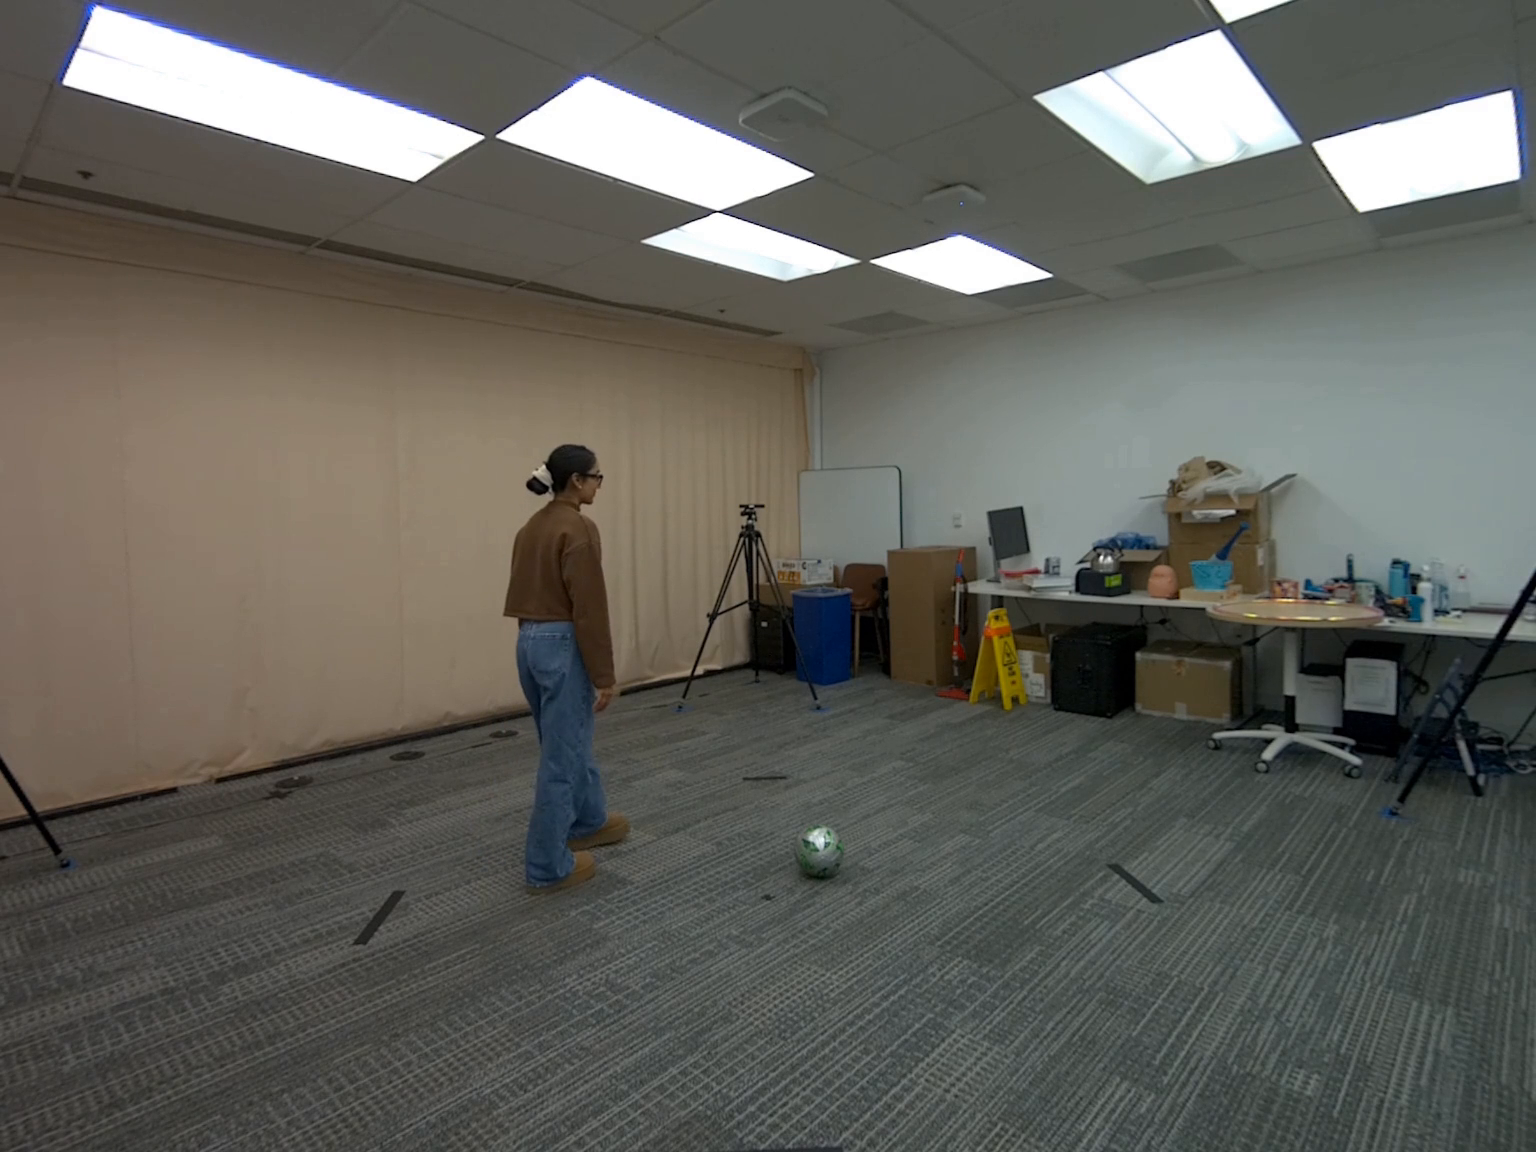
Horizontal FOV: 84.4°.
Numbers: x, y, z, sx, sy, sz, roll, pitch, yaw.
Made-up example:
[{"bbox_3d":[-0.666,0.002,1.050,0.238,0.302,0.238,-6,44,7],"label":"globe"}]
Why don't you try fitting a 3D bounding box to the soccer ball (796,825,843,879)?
[{"bbox_3d":[0.195,1.023,3.146,0.187,0.187,0.188,-1,4,-2],"label":"soccer ball"}]
